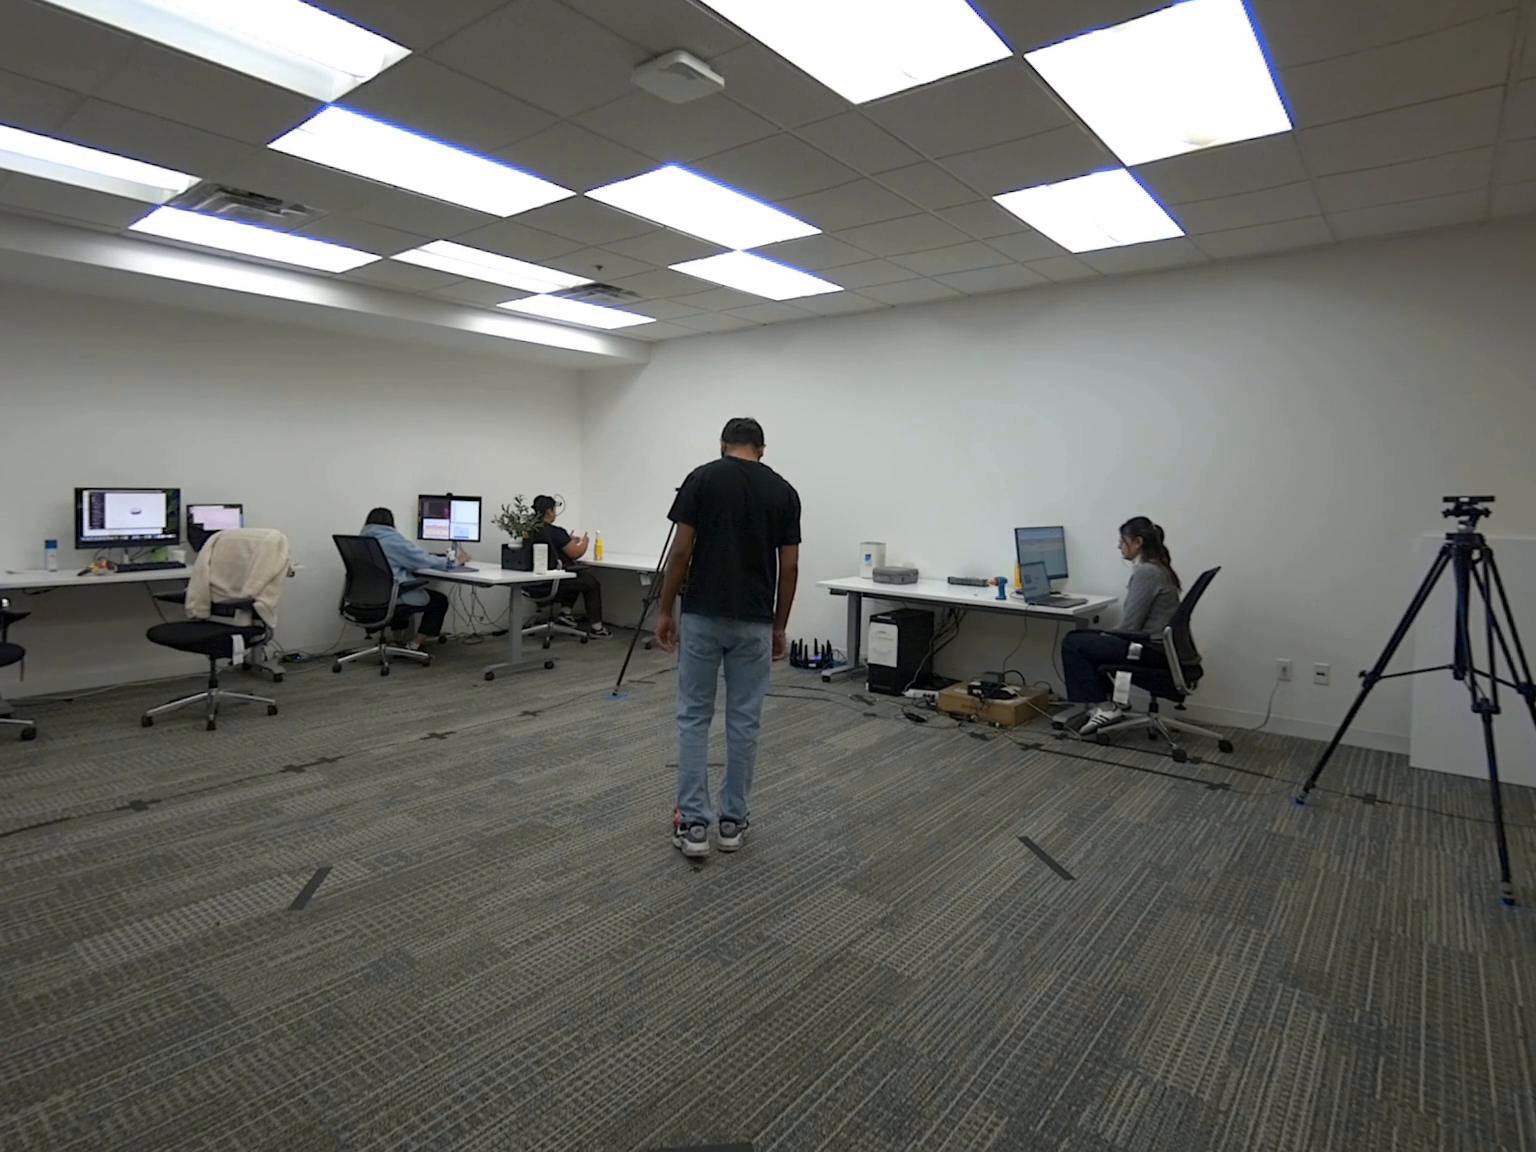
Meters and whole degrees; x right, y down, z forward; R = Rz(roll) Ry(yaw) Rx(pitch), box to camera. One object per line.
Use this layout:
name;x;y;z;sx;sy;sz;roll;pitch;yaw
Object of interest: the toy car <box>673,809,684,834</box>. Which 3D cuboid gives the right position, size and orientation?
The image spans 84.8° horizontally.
toy car;-0.333;0.983;3.536;0.130;0.084;0.254;2;-7;-6
